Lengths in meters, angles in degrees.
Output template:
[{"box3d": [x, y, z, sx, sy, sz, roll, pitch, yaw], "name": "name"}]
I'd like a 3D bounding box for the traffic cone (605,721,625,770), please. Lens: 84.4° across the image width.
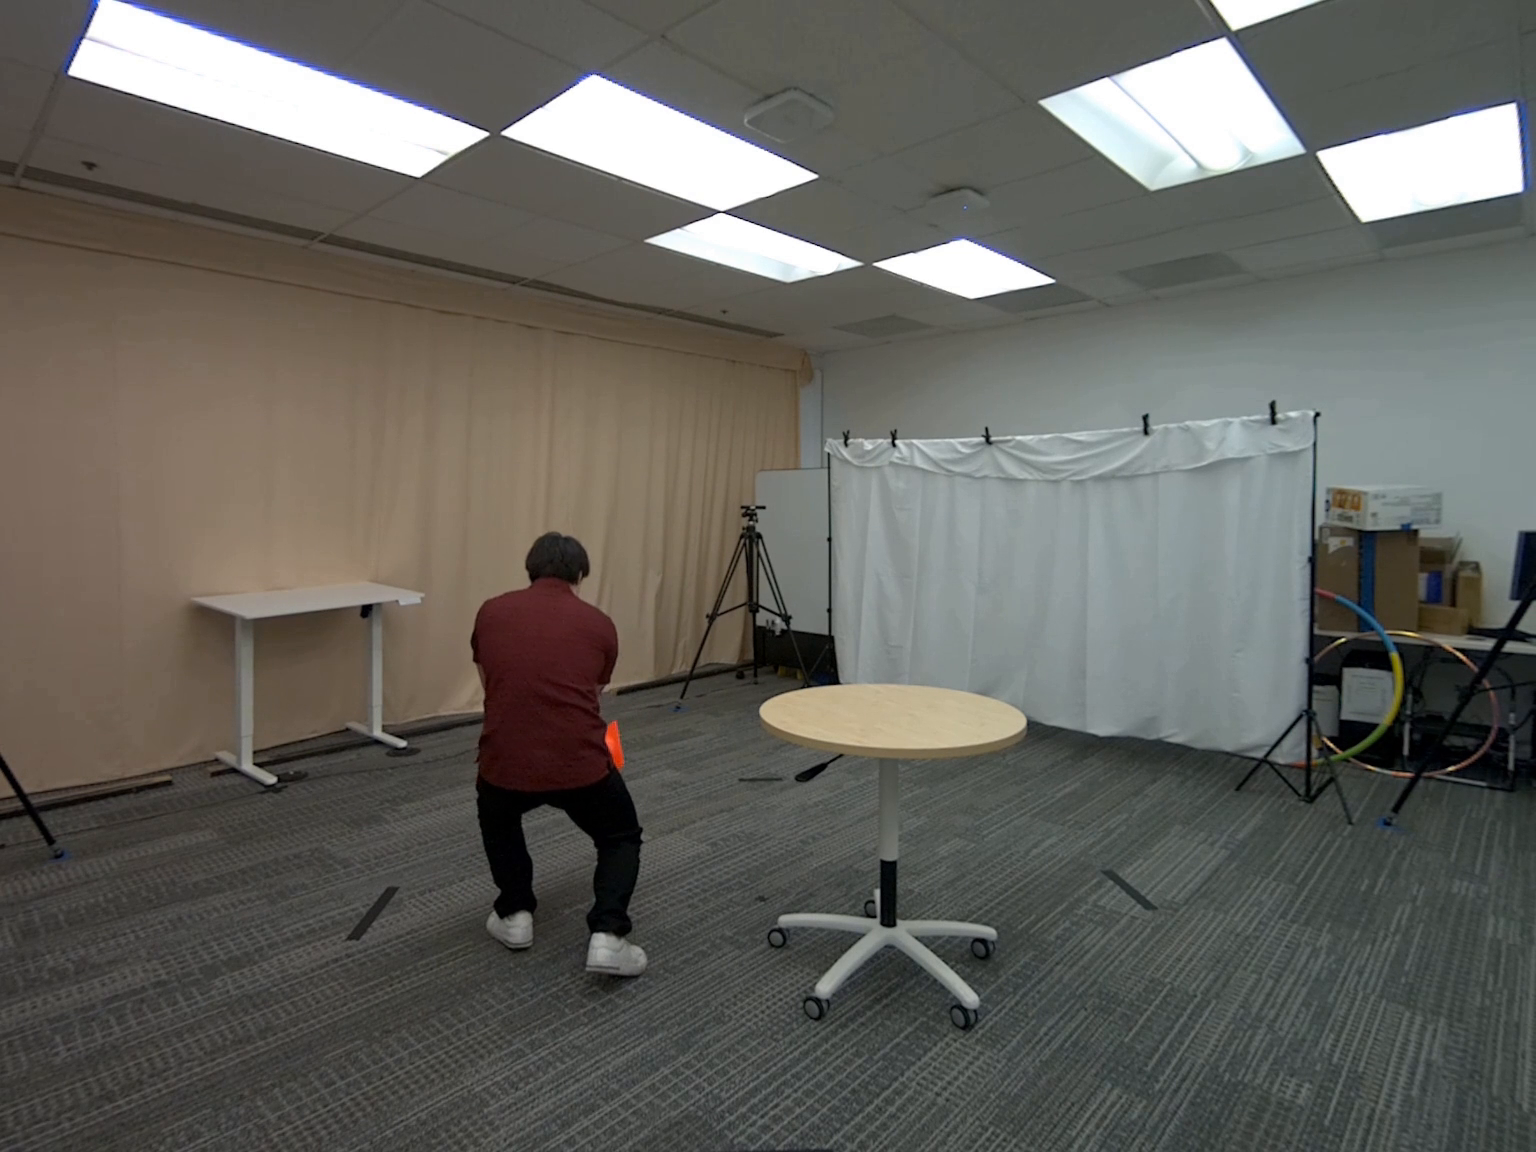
[{"box3d": [-0.737, 0.610, 3.033, 0.205, 0.211, 0.370, -40, -44, 20], "name": "traffic cone"}]
